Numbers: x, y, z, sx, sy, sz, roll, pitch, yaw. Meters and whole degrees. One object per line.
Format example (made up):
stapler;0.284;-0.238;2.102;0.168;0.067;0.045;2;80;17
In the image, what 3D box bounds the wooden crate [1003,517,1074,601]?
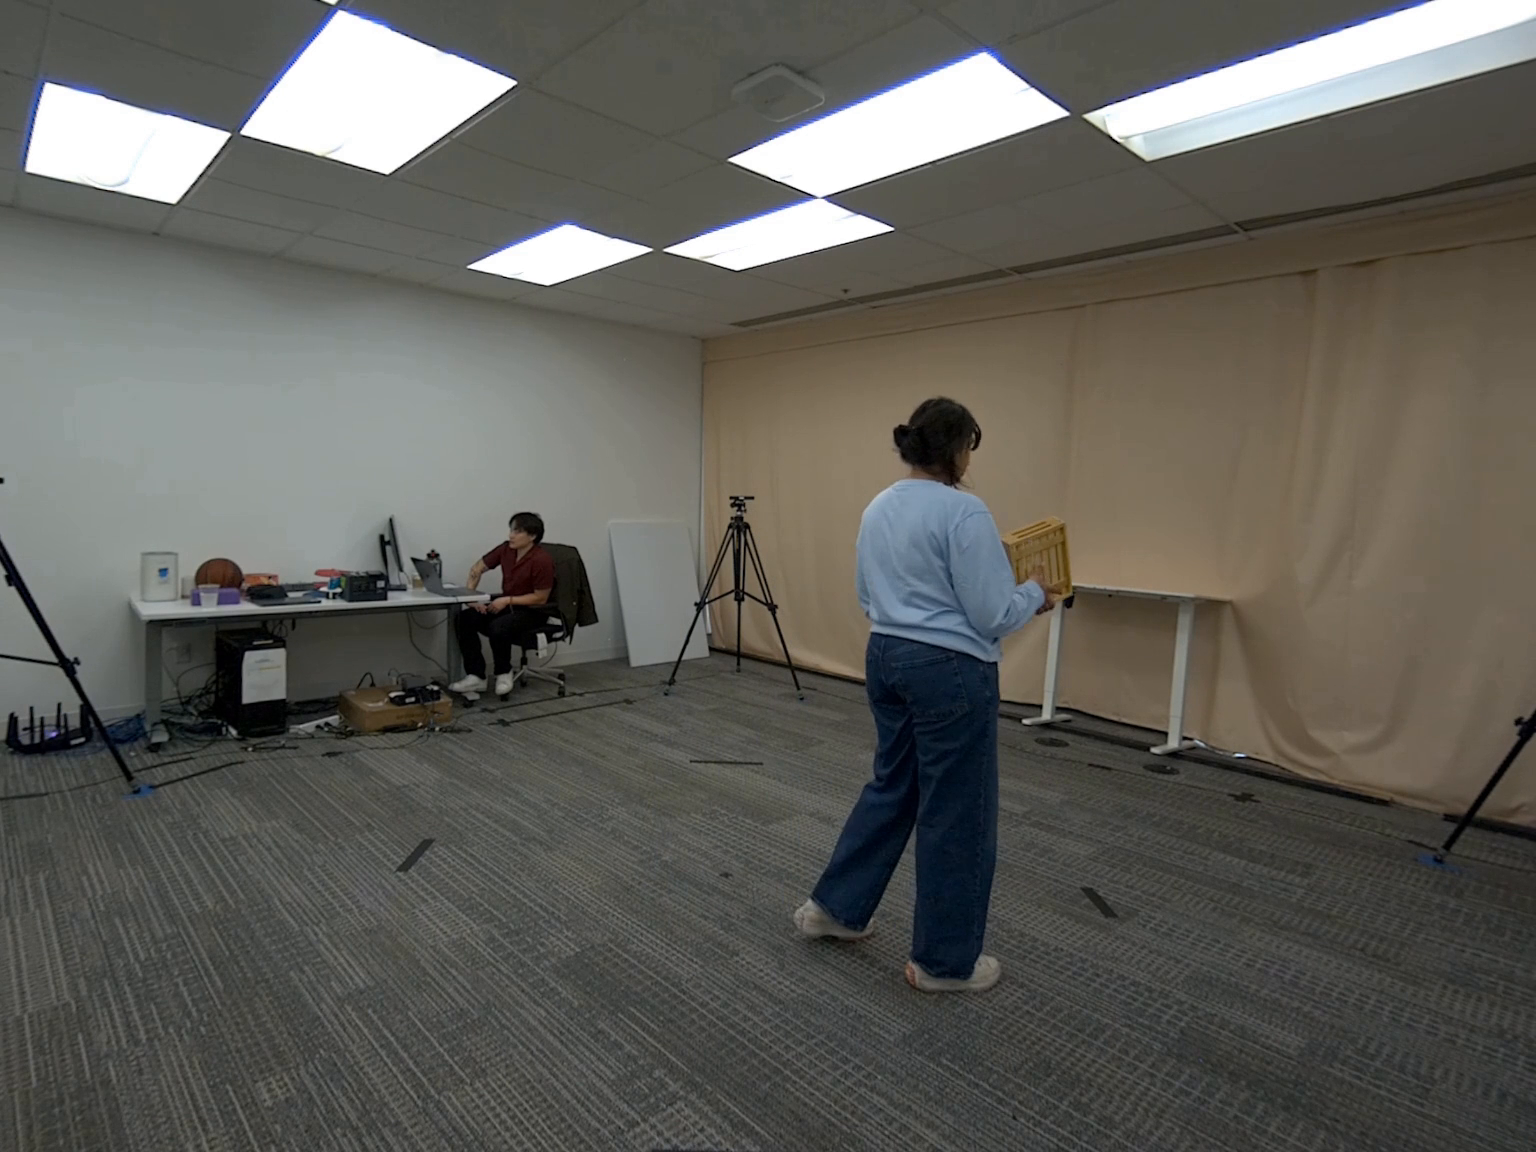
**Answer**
wooden crate;0.717;-0.005;2.604;0.319;0.300;0.280;-17;12;-38
